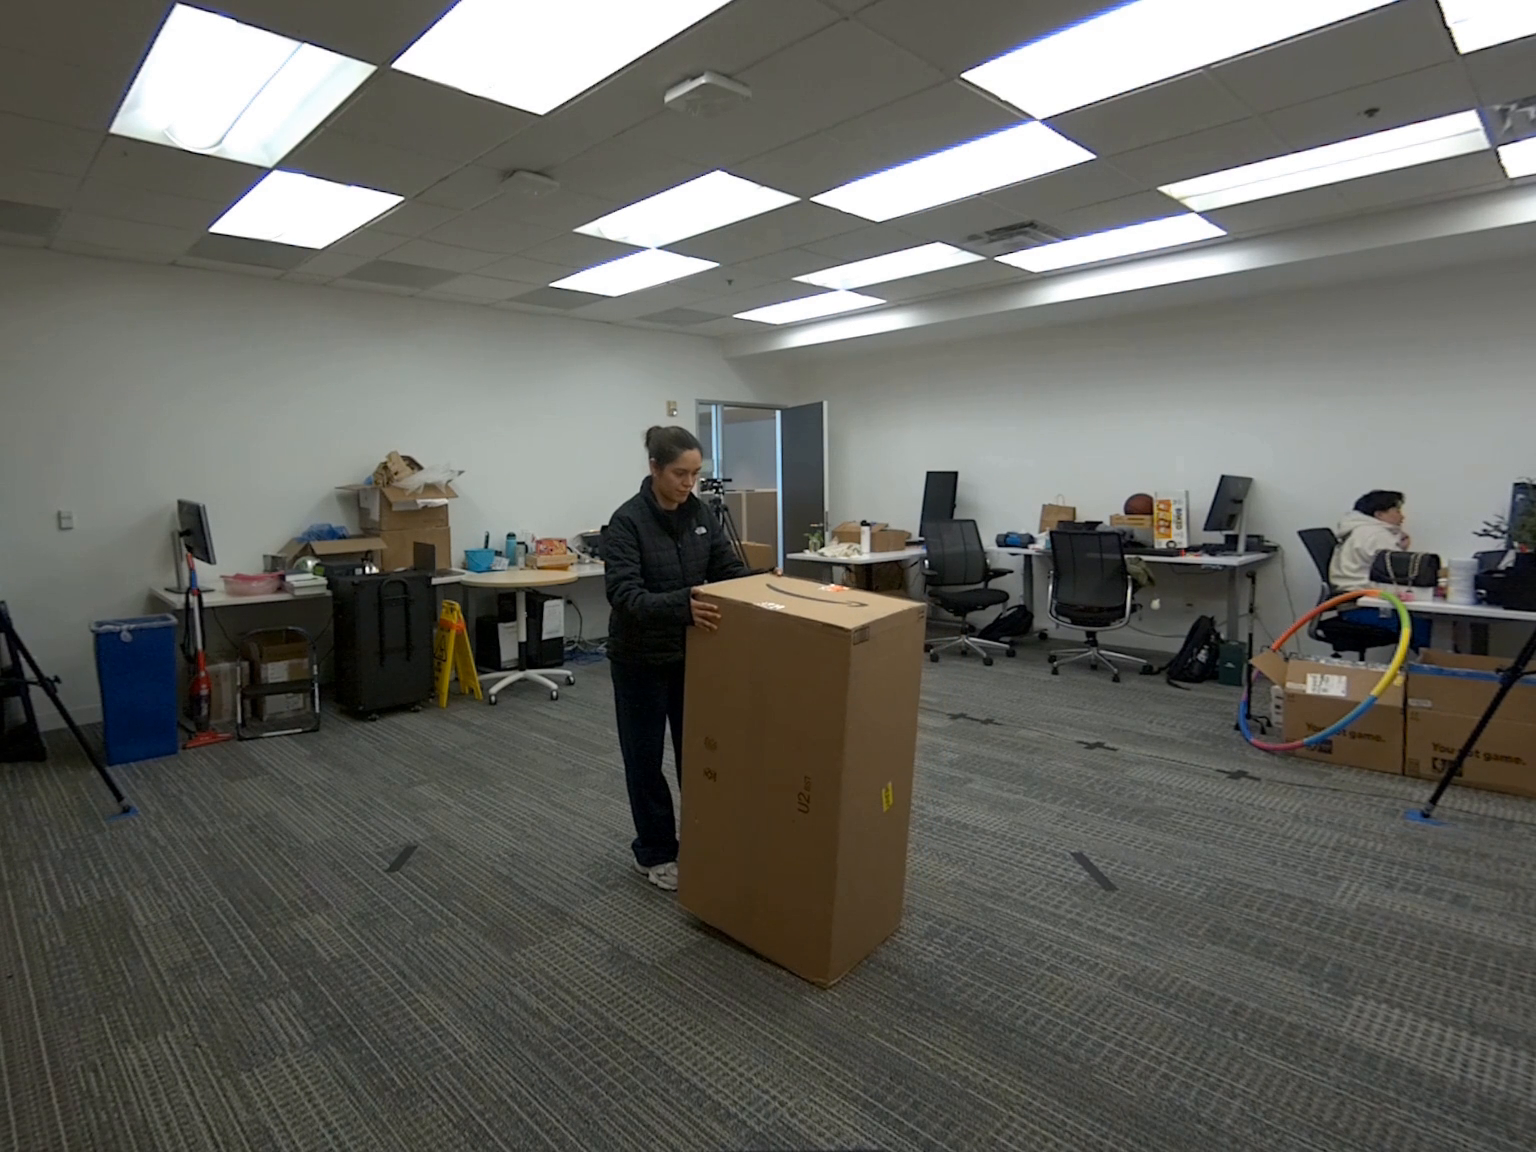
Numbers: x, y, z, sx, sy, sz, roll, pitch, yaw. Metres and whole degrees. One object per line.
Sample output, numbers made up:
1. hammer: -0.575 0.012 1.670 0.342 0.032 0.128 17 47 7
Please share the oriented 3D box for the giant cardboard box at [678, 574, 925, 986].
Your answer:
1. giant cardboard box: 0.094 0.566 2.606 0.596 1.018 0.415 10 11 38
